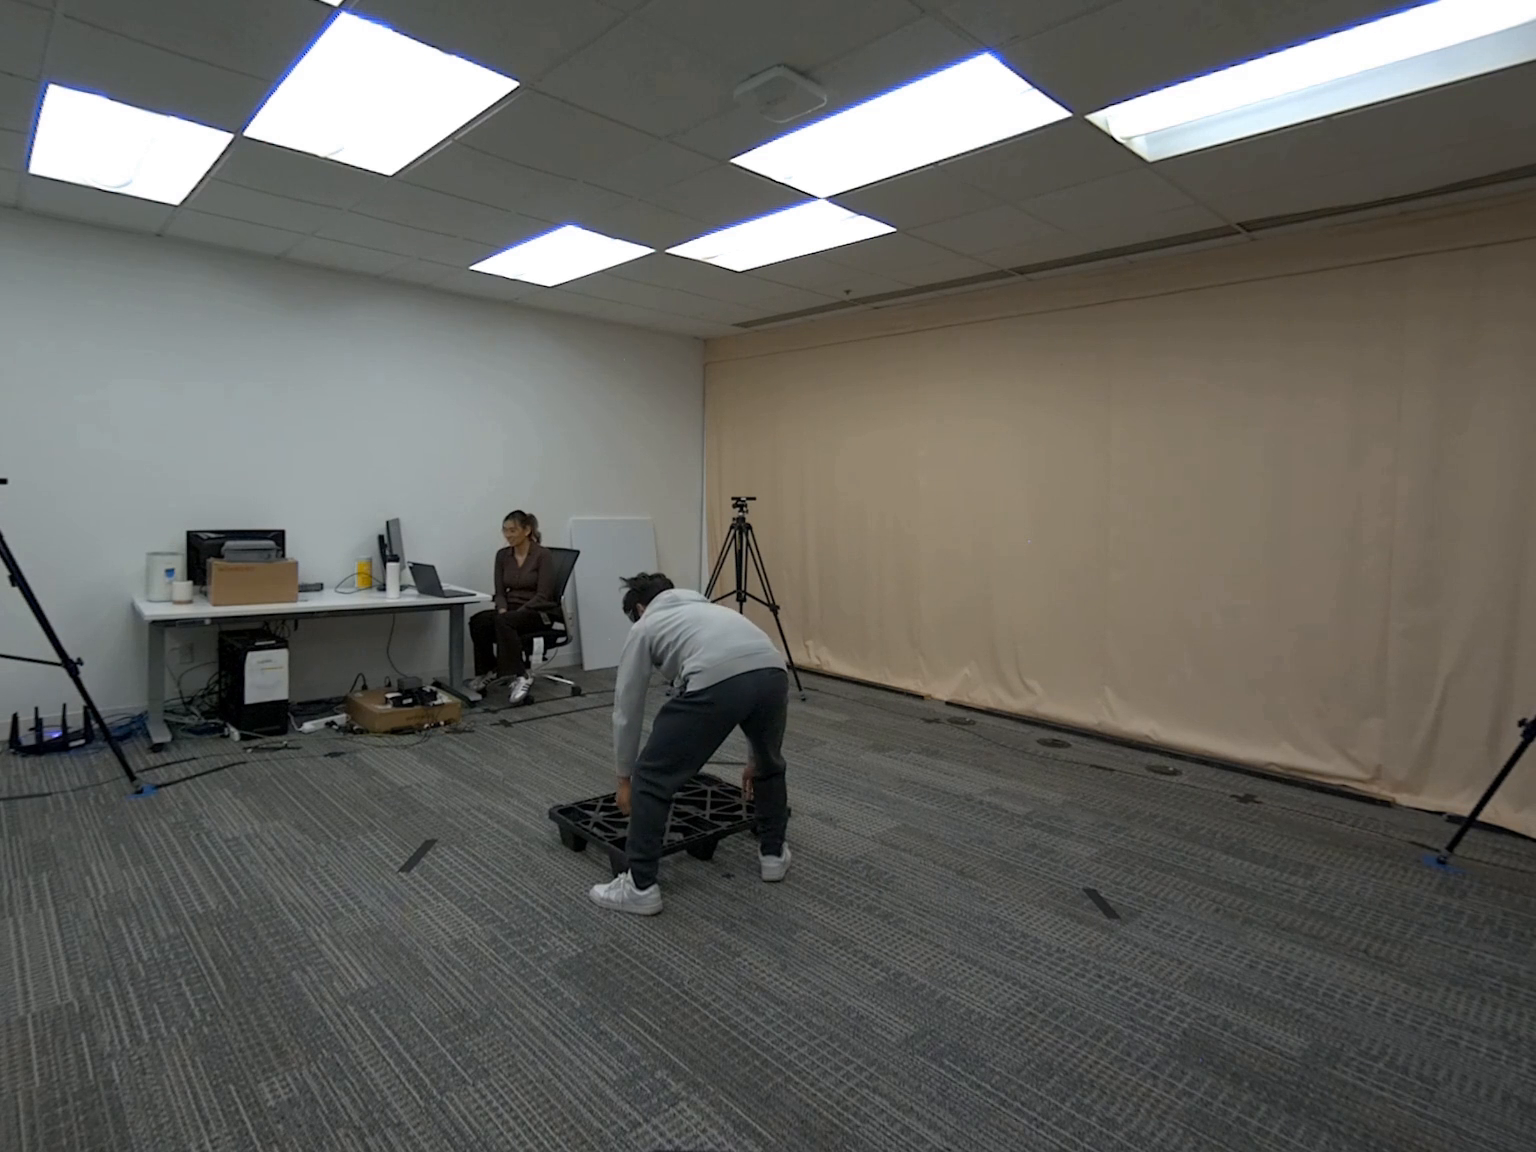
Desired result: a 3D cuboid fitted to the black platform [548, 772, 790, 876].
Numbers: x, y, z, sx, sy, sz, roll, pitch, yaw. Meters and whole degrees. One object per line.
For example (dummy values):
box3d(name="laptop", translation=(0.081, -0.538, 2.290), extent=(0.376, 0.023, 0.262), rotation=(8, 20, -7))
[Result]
box3d(name="black platform", translation=(-0.392, 1.010, 3.411), extent=(0.787, 0.143, 0.621), rotation=(-3, 7, -42))
